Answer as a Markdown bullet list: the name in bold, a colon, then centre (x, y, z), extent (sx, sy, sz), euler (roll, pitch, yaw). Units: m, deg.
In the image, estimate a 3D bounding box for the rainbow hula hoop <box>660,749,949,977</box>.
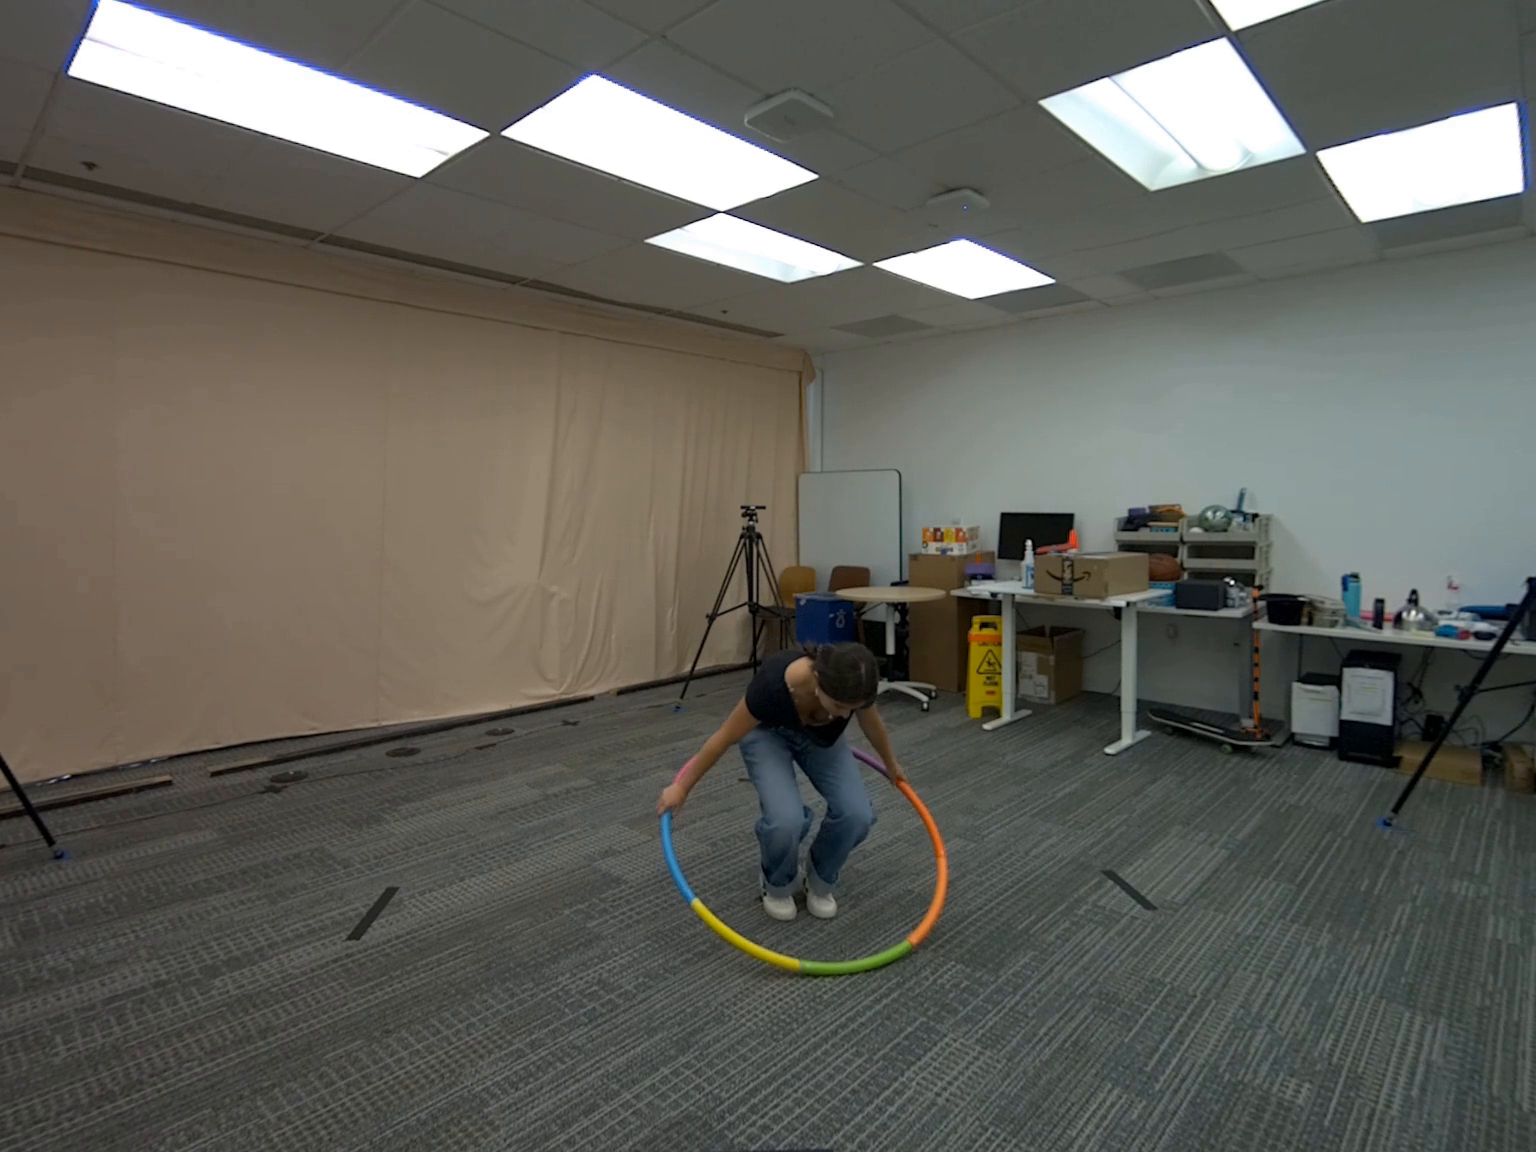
- **rainbow hula hoop**: centre (0.142, 0.885, 2.877), extent (0.973, 0.035, 0.996), euler (6, 34, -6)
